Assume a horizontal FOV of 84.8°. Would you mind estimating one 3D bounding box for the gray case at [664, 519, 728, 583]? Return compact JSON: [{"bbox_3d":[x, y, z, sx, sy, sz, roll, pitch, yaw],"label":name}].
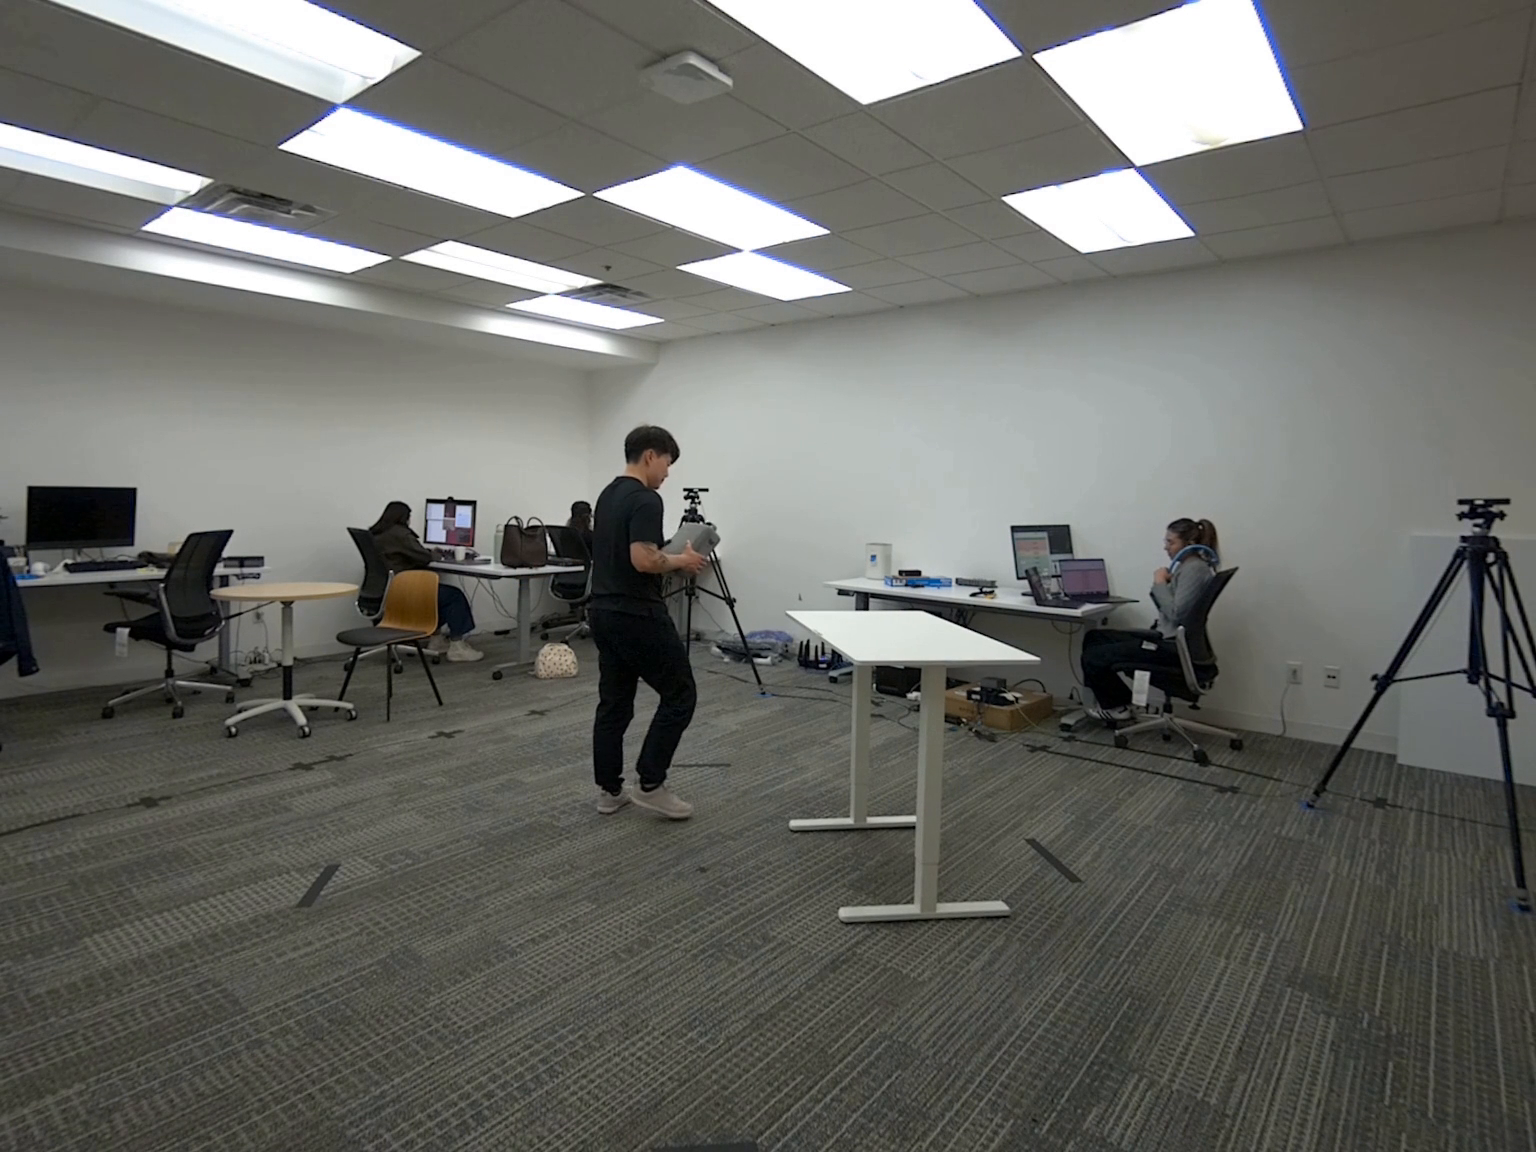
[{"bbox_3d":[-0.356,-0.119,3.755,0.101,0.261,0.265,47,-17,-25],"label":"gray case"}]
